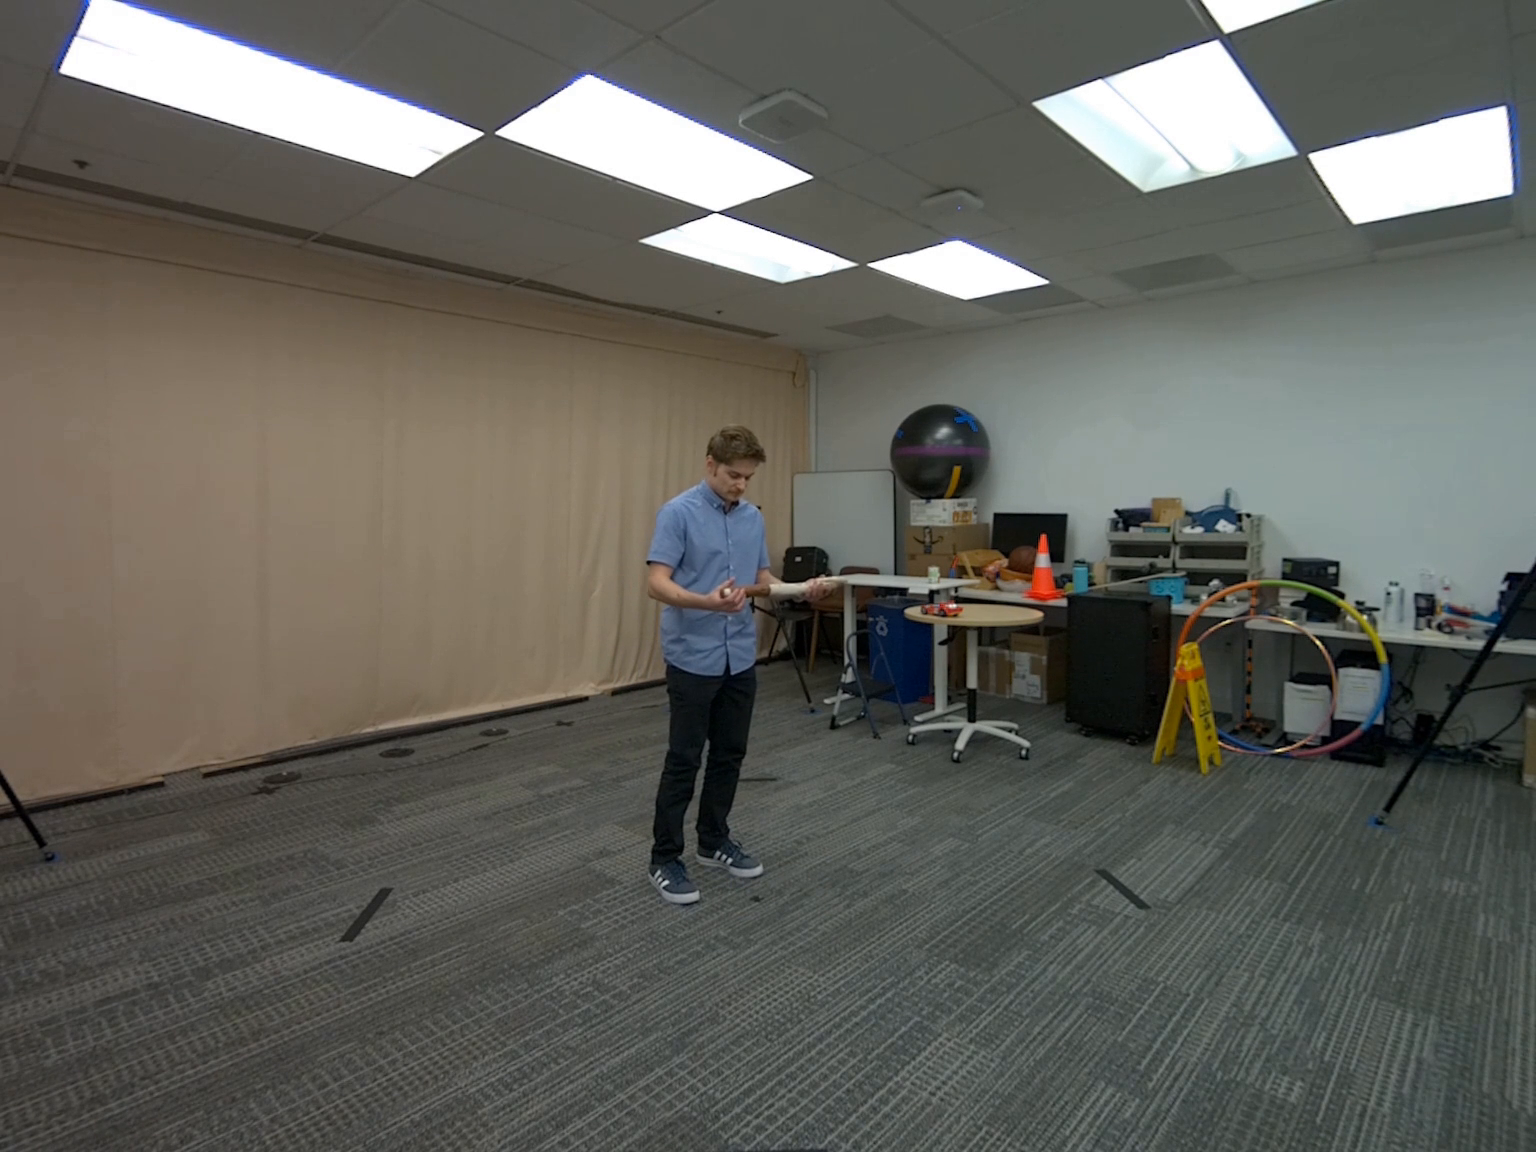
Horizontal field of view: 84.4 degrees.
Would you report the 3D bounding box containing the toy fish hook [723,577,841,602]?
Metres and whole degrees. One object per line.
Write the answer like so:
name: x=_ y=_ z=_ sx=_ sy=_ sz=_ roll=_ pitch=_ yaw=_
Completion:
toy fish hook: x=0.050 y=0.043 z=2.862 sx=0.230 sy=0.048 sz=0.491 roll=-17 pitch=-9 yaw=41
